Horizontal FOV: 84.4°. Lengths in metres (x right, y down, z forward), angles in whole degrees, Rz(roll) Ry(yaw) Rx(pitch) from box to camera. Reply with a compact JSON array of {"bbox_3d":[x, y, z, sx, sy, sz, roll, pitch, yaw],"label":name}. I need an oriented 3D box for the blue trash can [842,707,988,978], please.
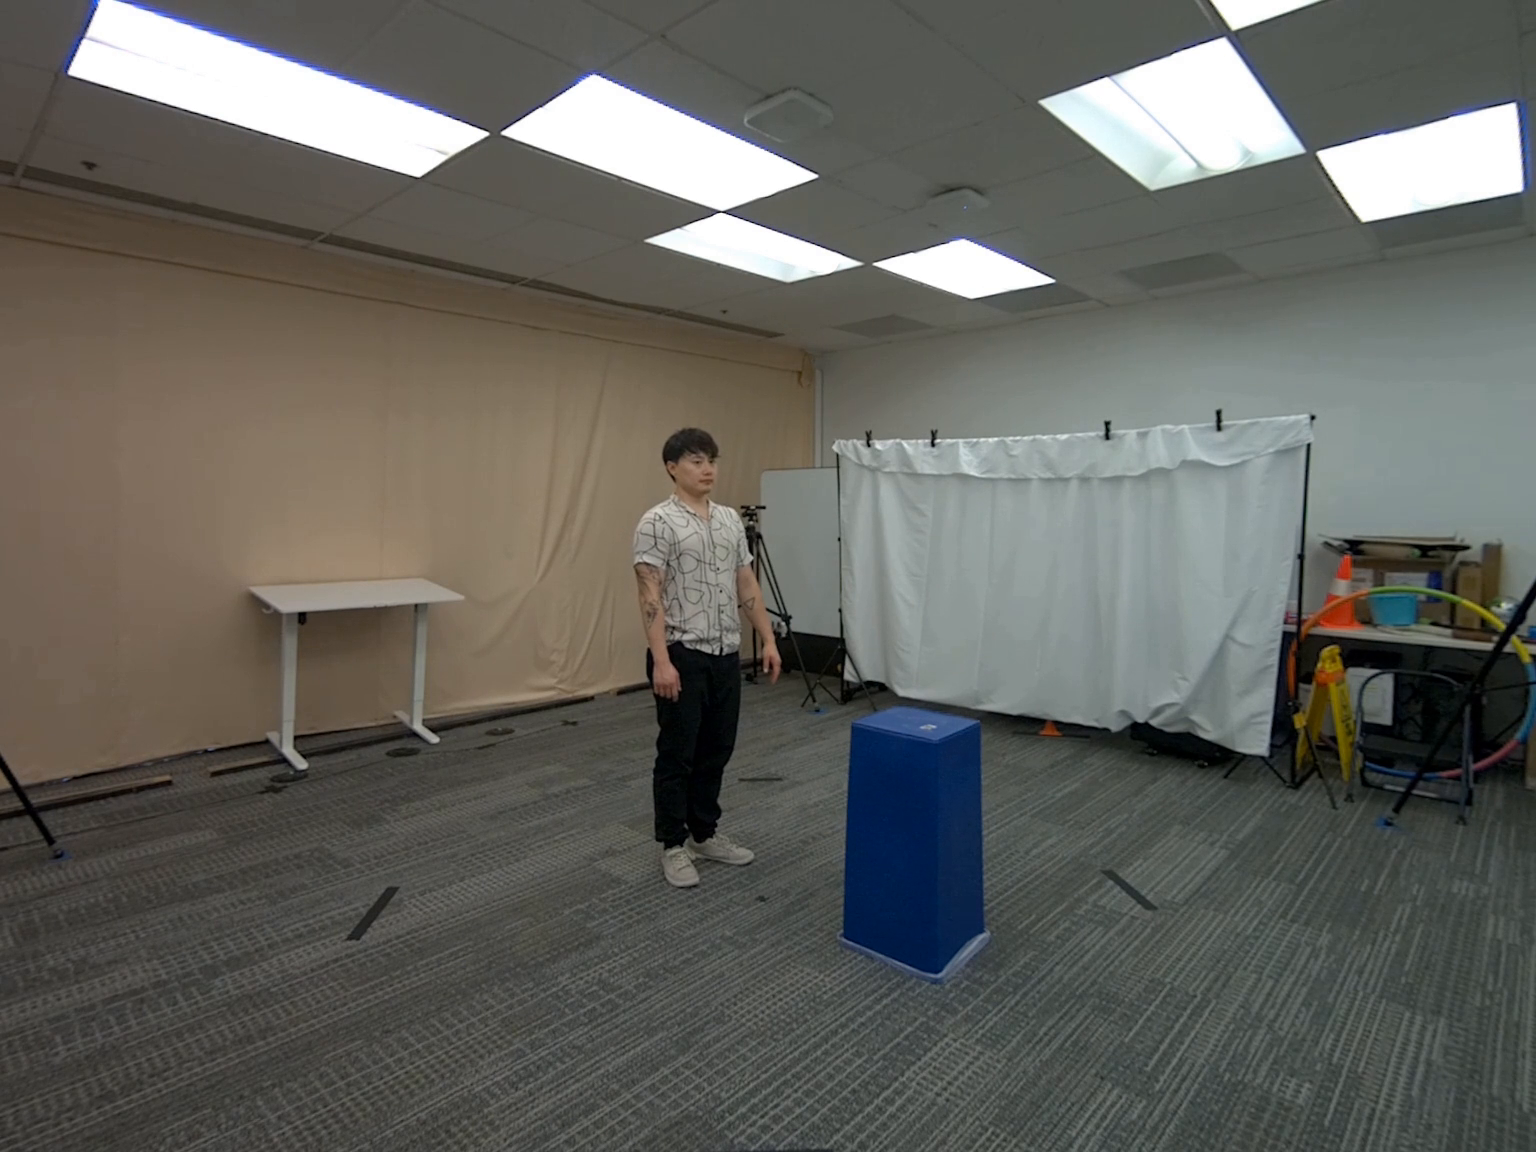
[{"bbox_3d":[0.476,0.815,2.667,0.386,0.711,0.367,4,6,41],"label":"blue trash can"}]
